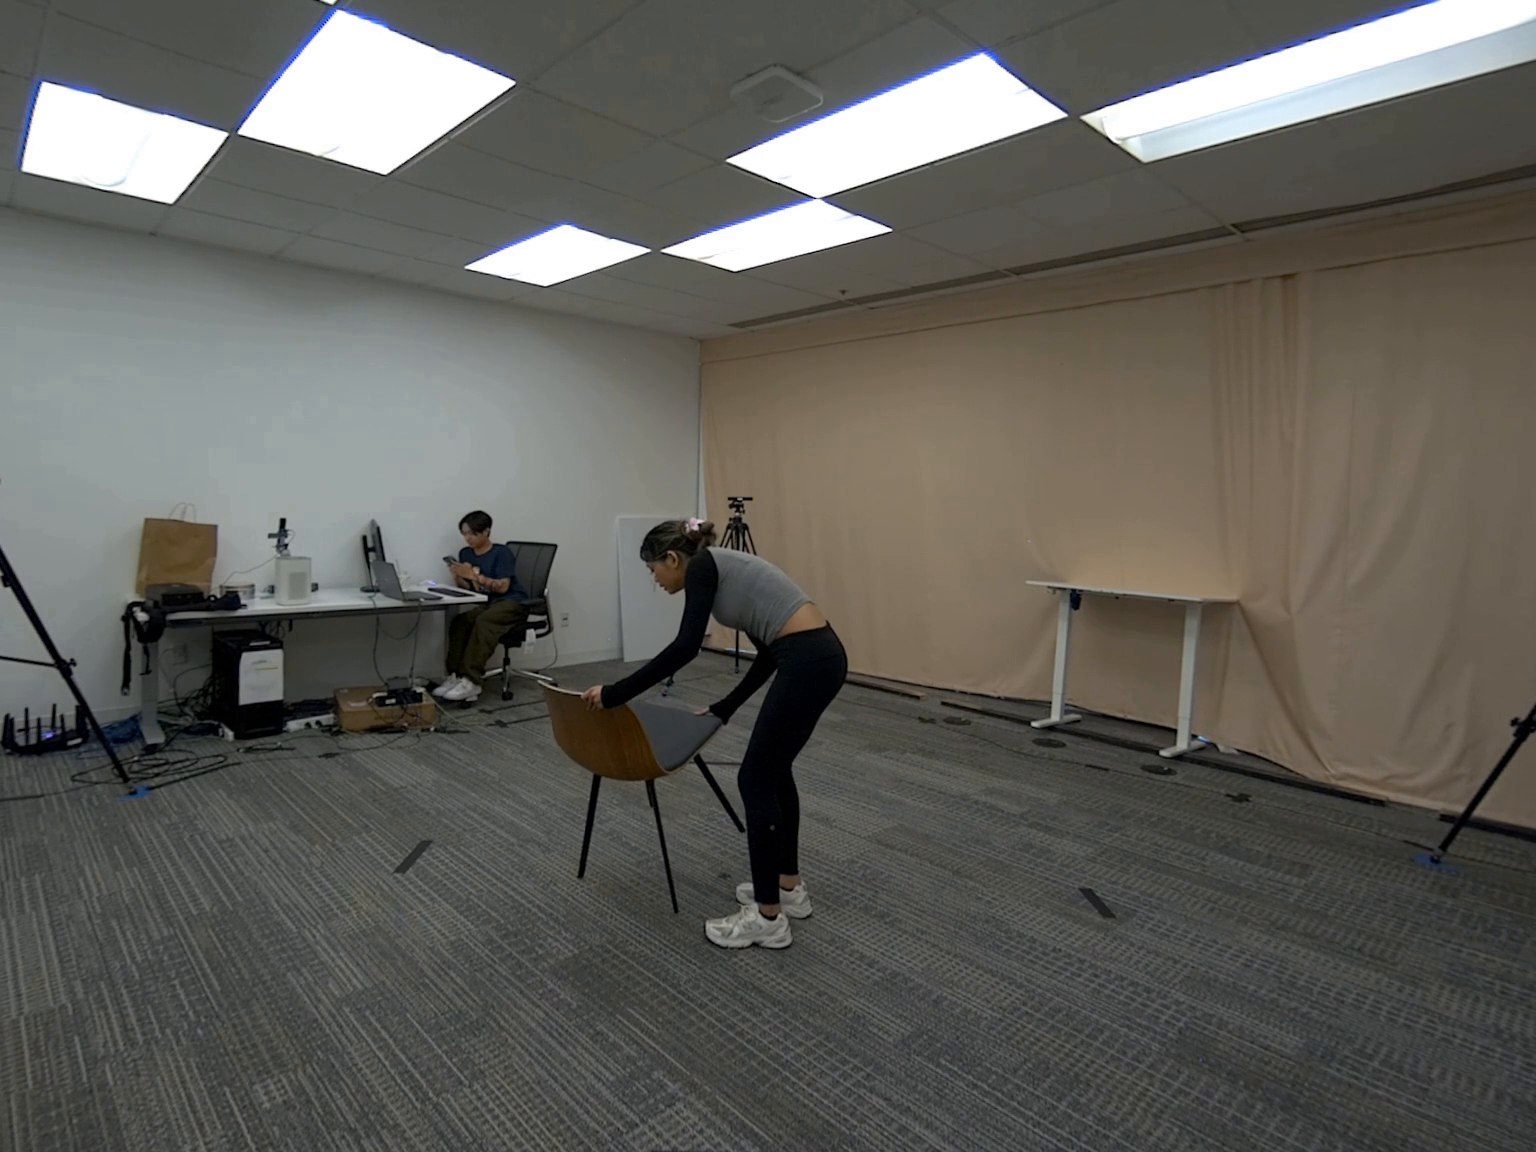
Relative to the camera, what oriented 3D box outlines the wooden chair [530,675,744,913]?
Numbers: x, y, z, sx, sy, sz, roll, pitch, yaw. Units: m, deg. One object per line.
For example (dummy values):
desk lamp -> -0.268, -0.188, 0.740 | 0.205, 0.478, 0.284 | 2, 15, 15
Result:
wooden chair -> -0.447, 0.632, 2.978 | 0.489, 0.861, 0.521 | 4, 27, 31
